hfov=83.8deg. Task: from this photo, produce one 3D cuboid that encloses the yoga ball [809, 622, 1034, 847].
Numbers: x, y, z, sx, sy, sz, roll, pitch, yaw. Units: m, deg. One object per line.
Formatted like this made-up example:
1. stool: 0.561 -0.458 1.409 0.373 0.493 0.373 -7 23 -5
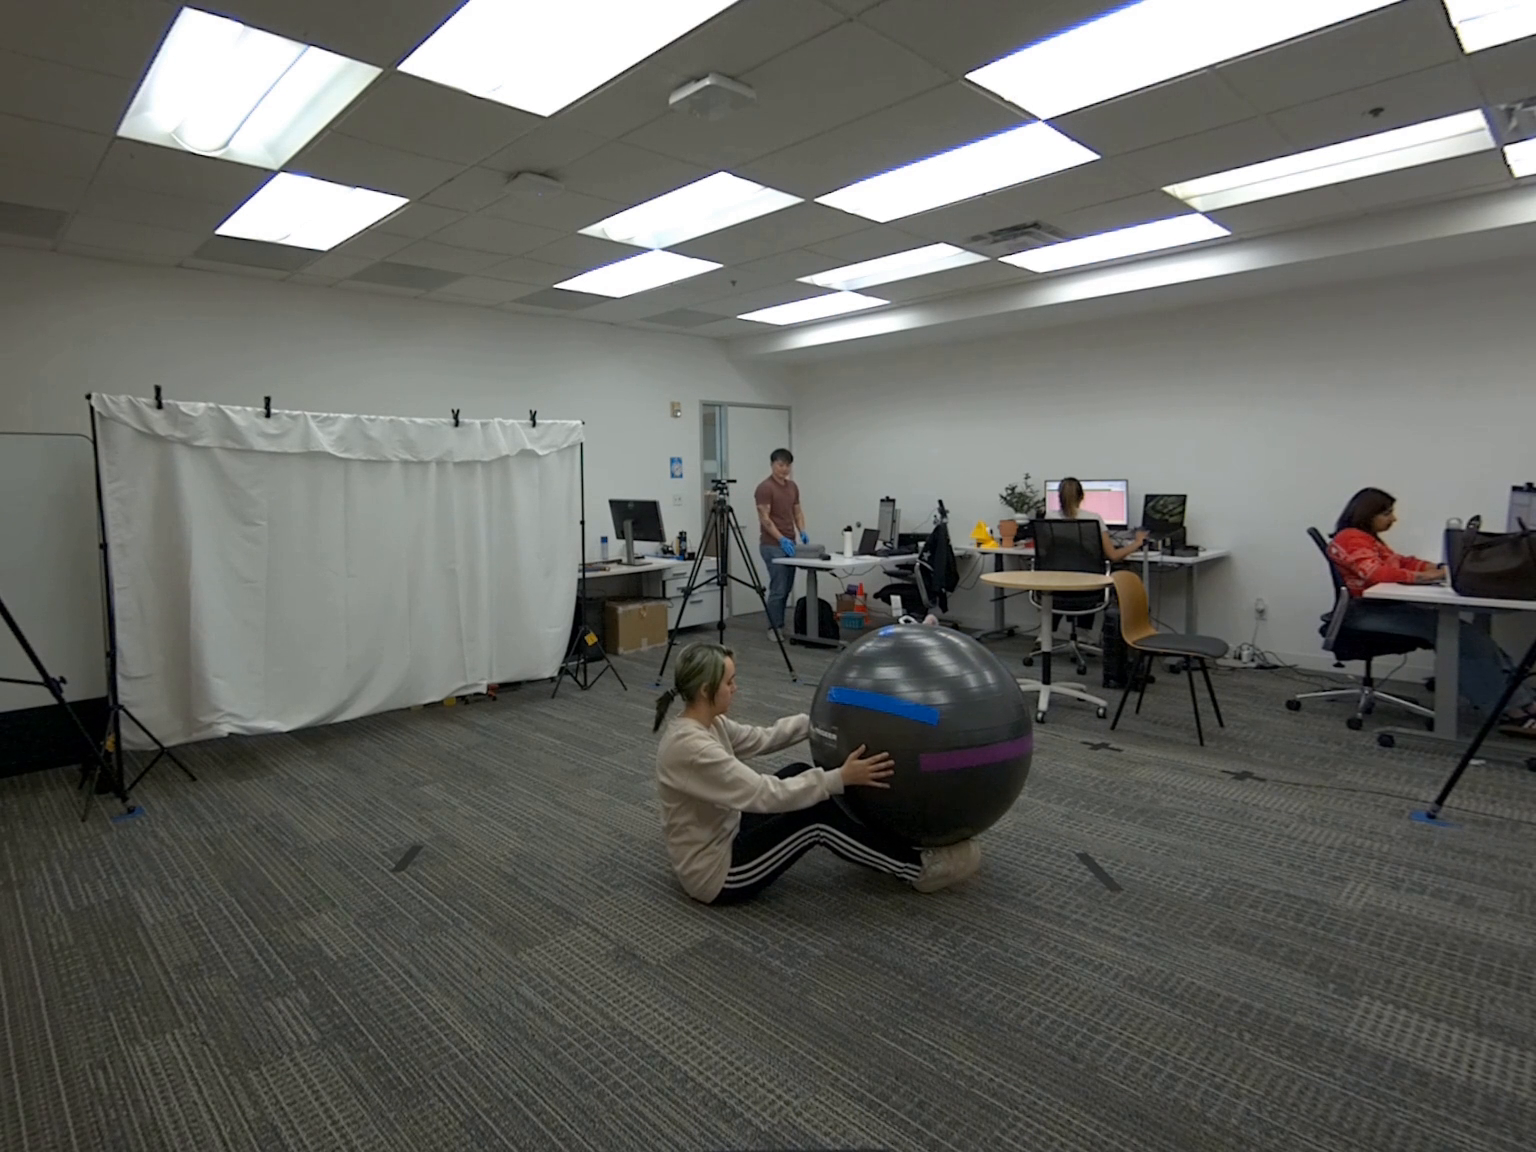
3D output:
1. yoga ball: 0.549 0.555 2.978 0.757 0.755 0.762 -1 5 -2
